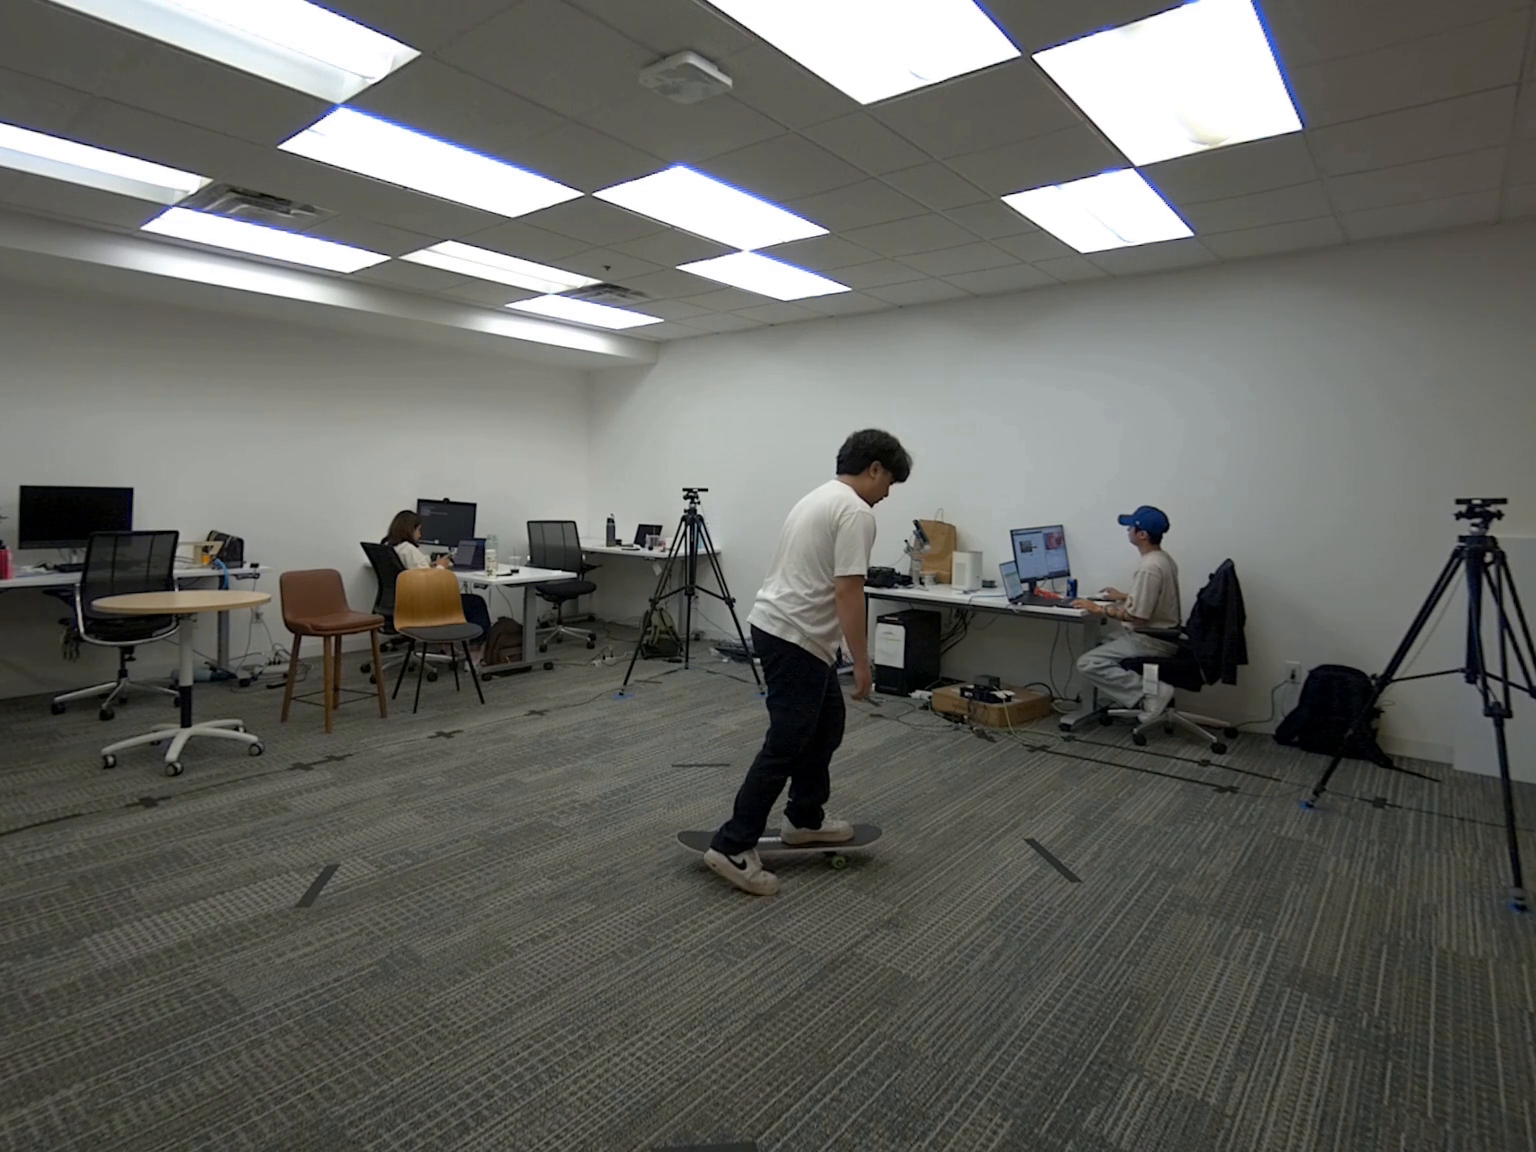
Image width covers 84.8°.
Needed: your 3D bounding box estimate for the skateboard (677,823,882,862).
[{"bbox_3d":[0.033,1.002,3.181,0.778,0.110,0.196,0,4,-9],"label":"skateboard"}]
